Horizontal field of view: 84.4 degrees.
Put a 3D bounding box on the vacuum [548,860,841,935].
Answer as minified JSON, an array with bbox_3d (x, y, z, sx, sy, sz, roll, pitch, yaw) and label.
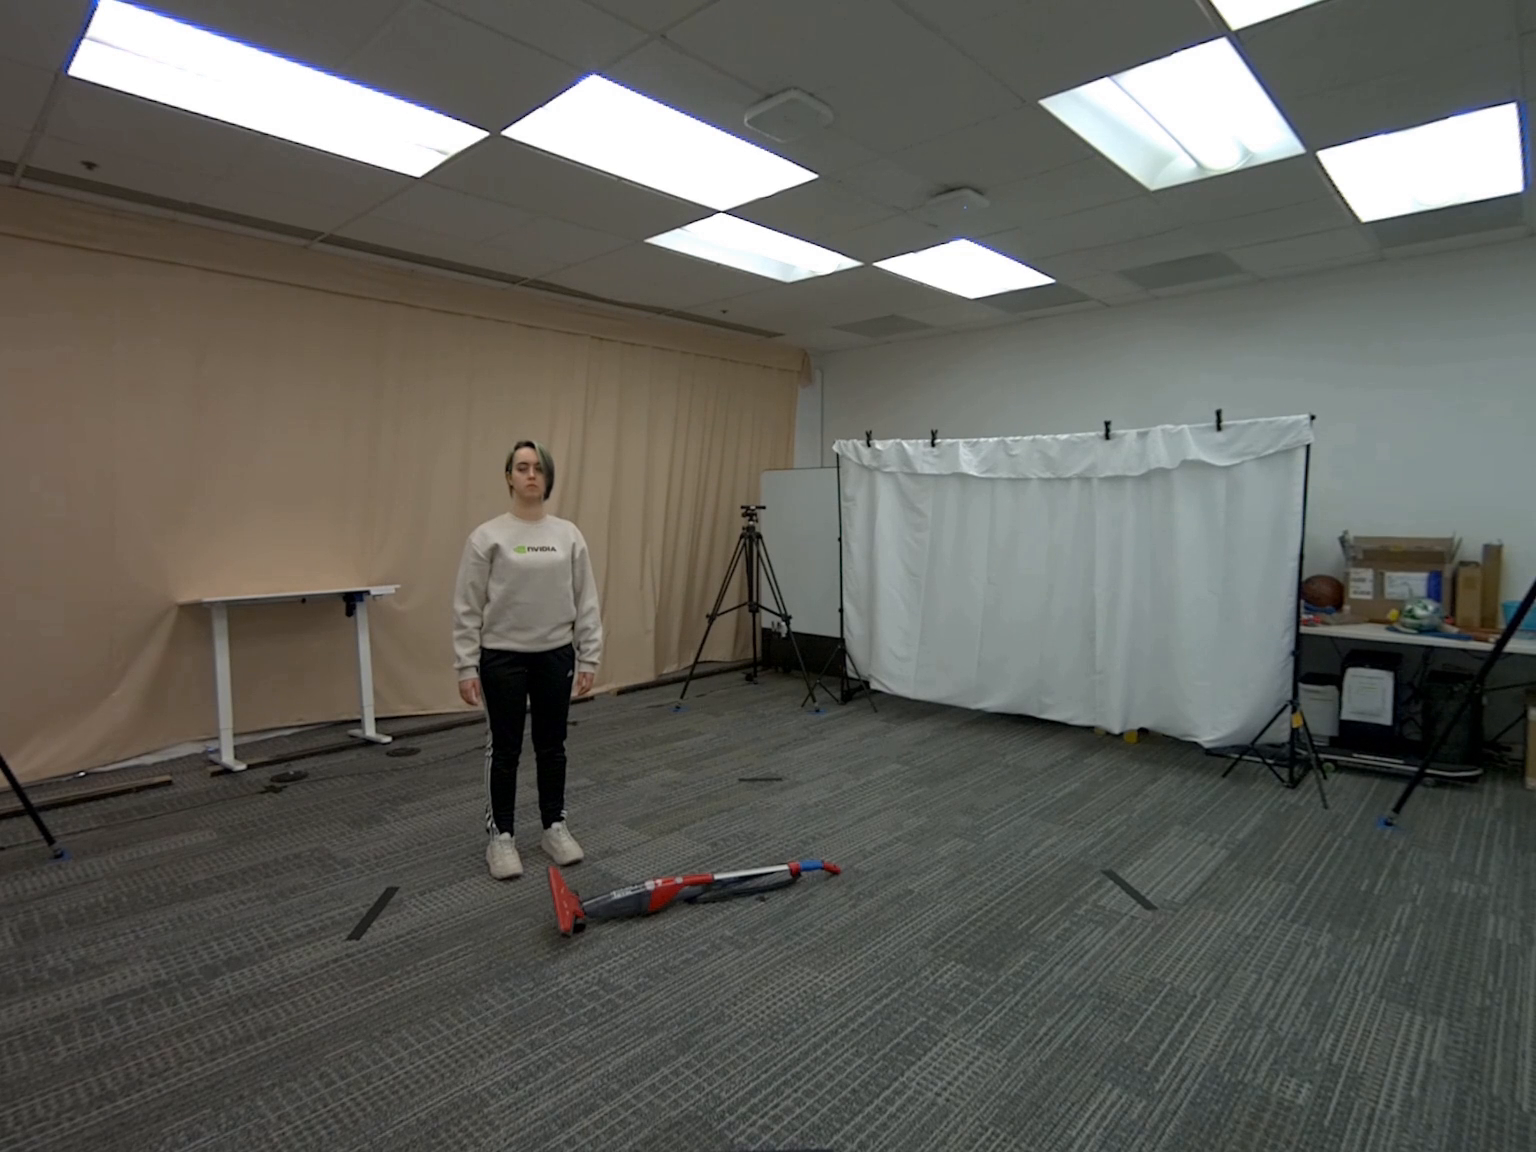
[{"bbox_3d":[-0.205,1.097,2.969,1.024,0.143,0.260,2,35,-24],"label":"vacuum"}]
